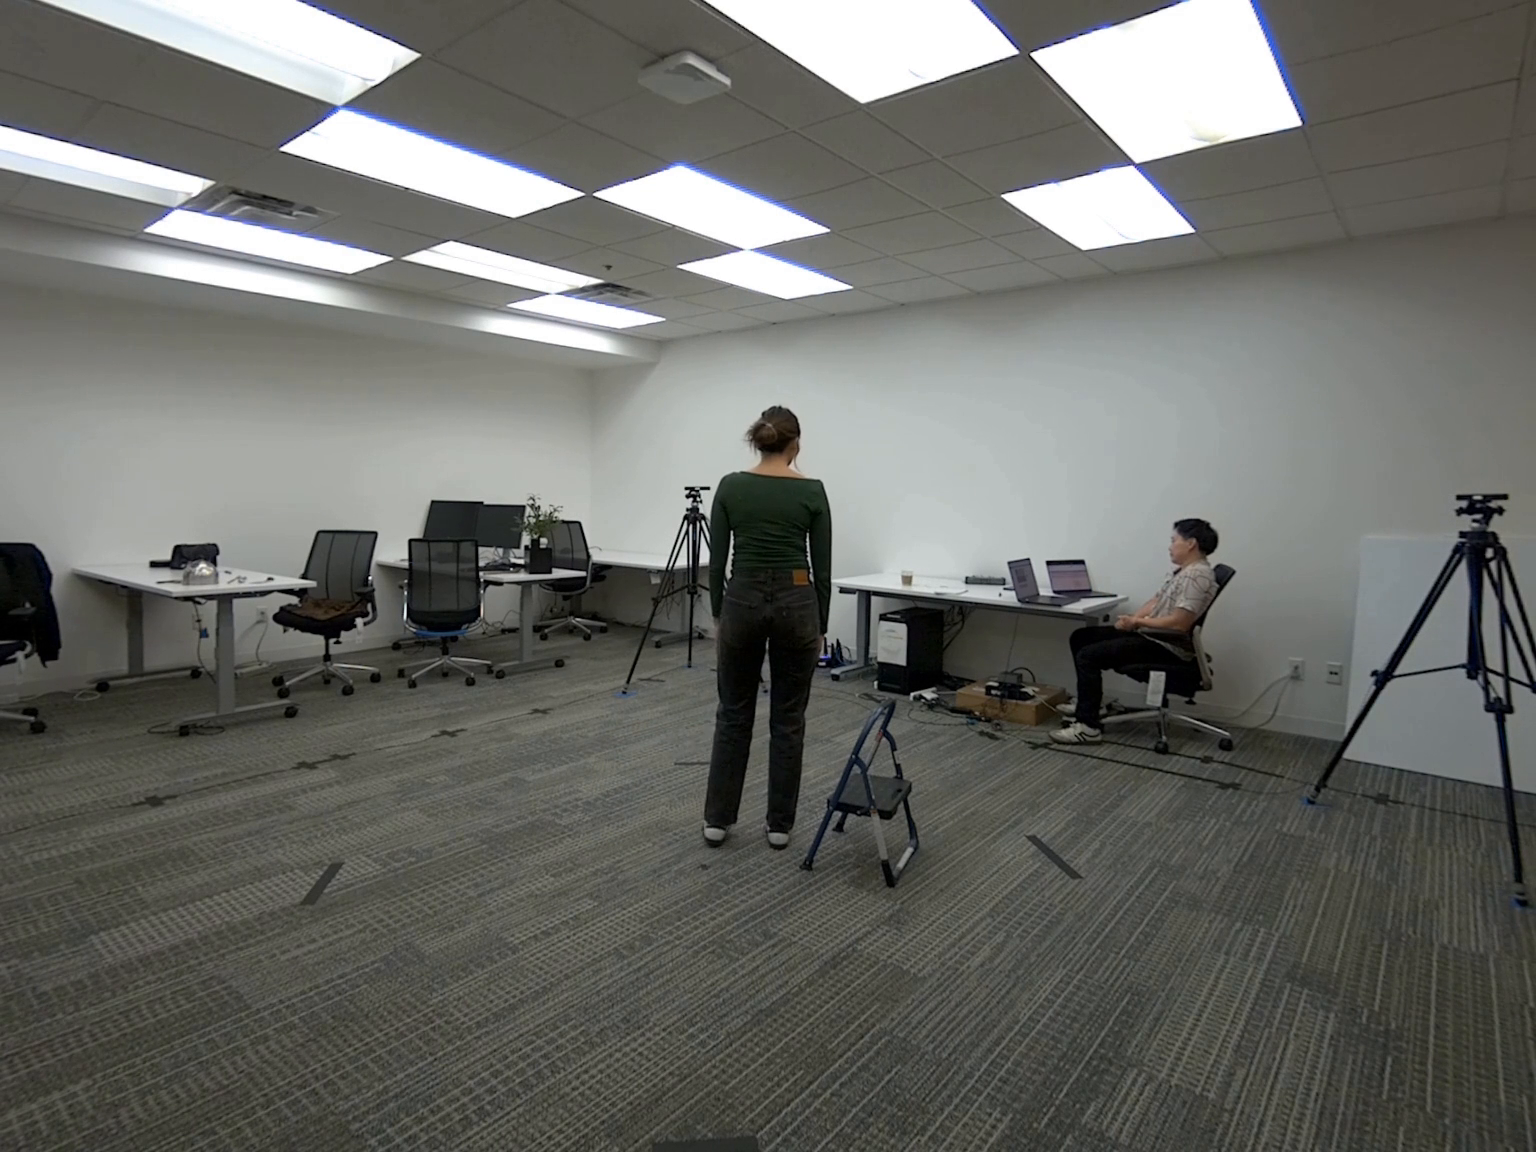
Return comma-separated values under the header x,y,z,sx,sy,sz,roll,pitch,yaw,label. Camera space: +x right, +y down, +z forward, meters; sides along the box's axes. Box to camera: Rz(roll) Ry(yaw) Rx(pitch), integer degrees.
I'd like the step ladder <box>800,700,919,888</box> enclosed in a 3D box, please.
x,y,z,sx,sy,sz,roll,pitch,yaw,label
0.356,0.760,3.216,0.358,0.604,0.422,2,4,23,step ladder
